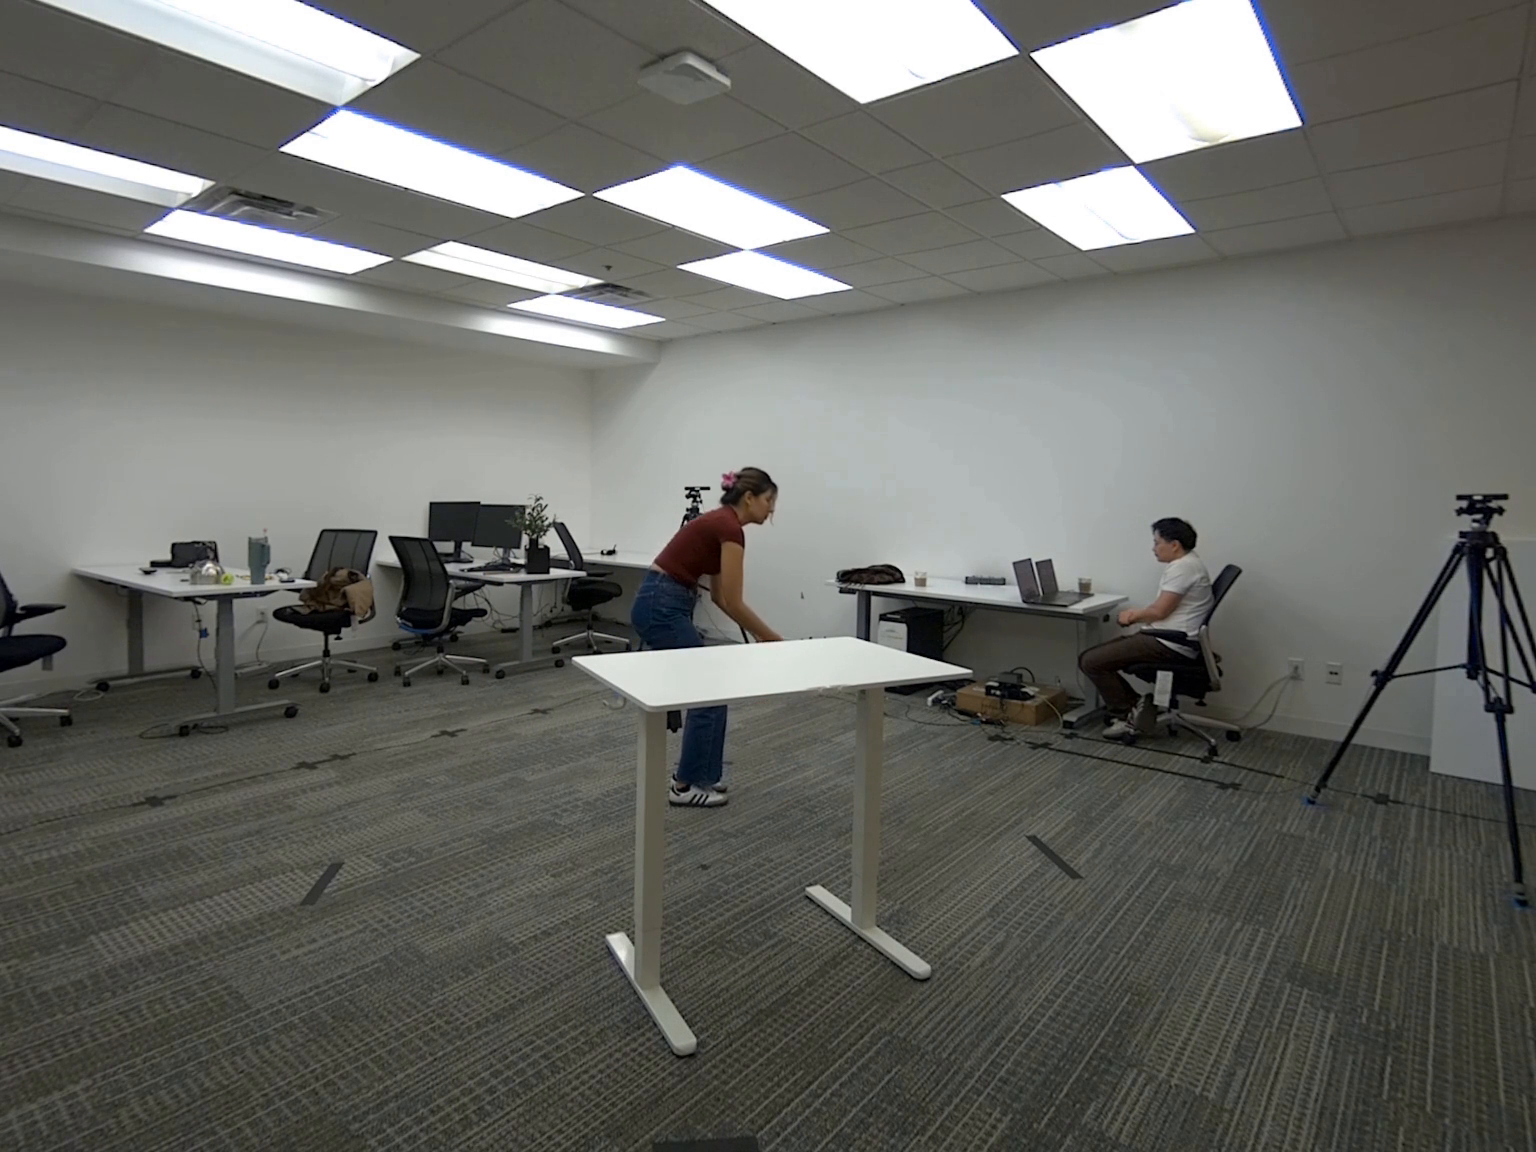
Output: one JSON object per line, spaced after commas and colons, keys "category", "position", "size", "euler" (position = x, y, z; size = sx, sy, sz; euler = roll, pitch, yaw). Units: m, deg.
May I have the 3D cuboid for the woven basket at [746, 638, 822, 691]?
{"category": "woven basket", "position": [0.065, 0.395, 3.842], "size": [0.251, 0.072, 0.356], "euler": [-22, 11, -10]}
